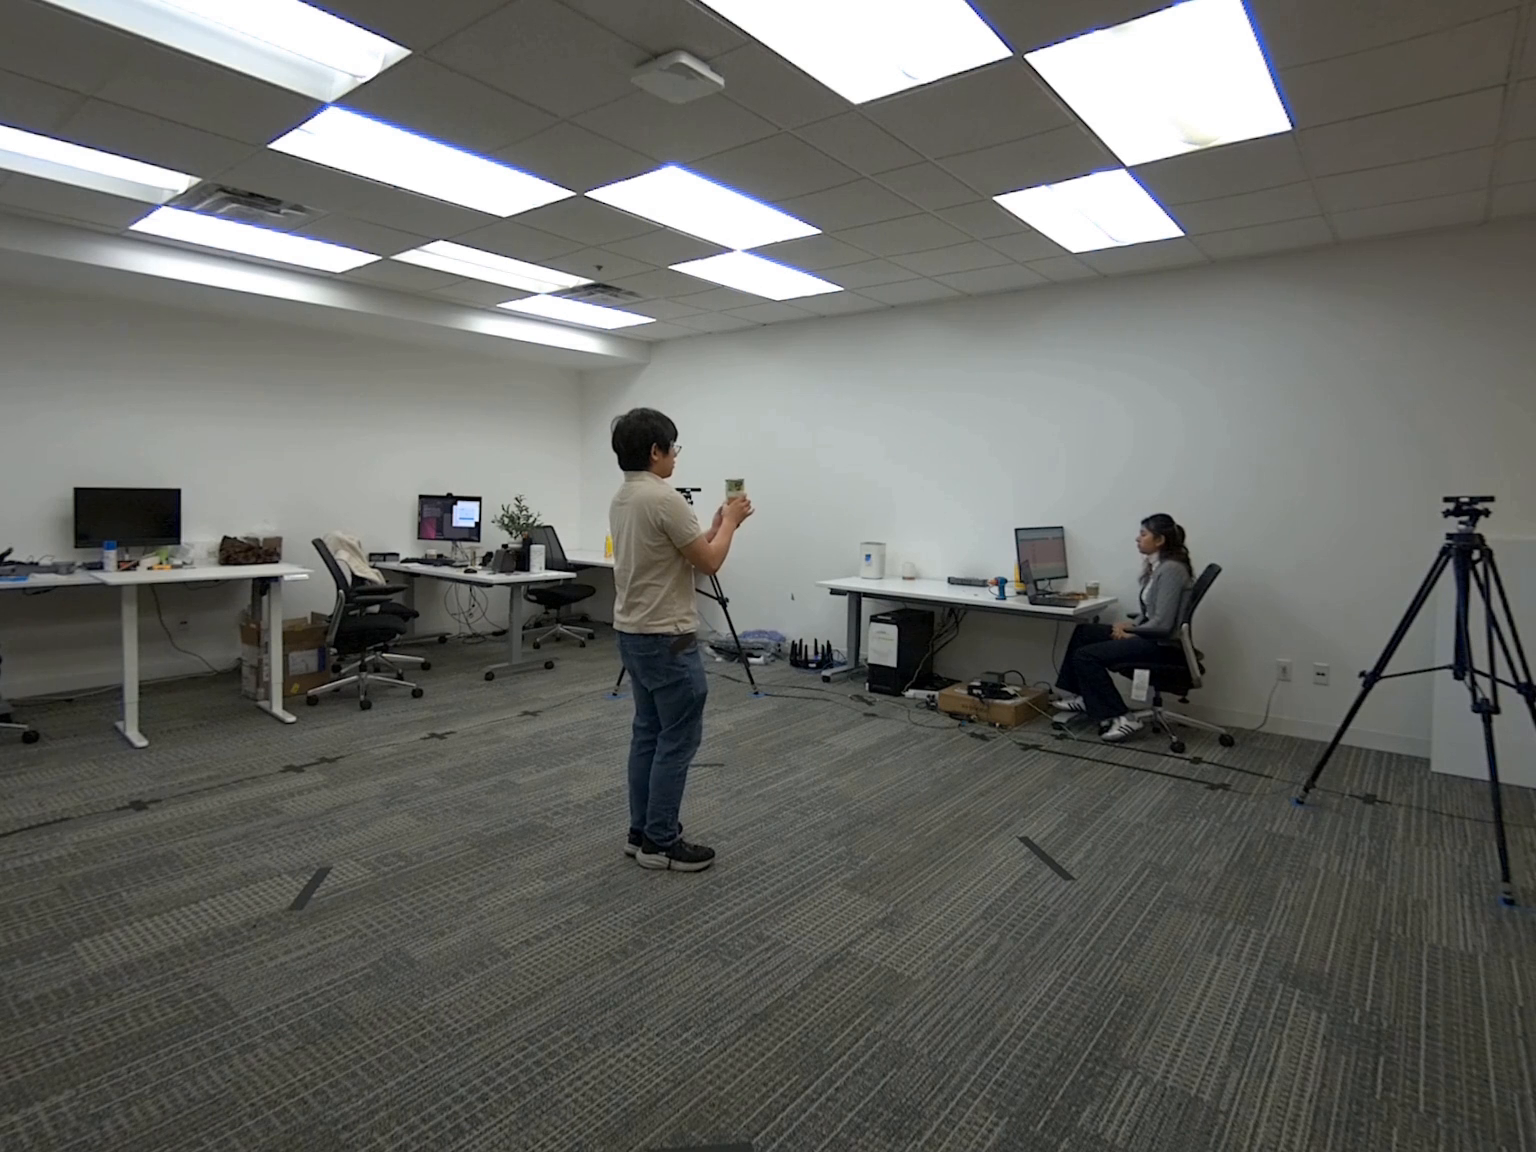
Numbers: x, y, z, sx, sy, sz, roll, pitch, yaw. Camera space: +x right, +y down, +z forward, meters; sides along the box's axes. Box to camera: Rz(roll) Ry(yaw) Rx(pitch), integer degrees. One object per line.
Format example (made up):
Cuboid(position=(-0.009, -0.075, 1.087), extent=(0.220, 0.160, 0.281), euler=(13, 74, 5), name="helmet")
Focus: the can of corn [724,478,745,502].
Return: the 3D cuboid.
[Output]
Cuboid(position=(-0.145, -0.330, 3.346), extent=(0.074, 0.110, 0.075), euler=(-2, 7, -2), name="can of corn")
